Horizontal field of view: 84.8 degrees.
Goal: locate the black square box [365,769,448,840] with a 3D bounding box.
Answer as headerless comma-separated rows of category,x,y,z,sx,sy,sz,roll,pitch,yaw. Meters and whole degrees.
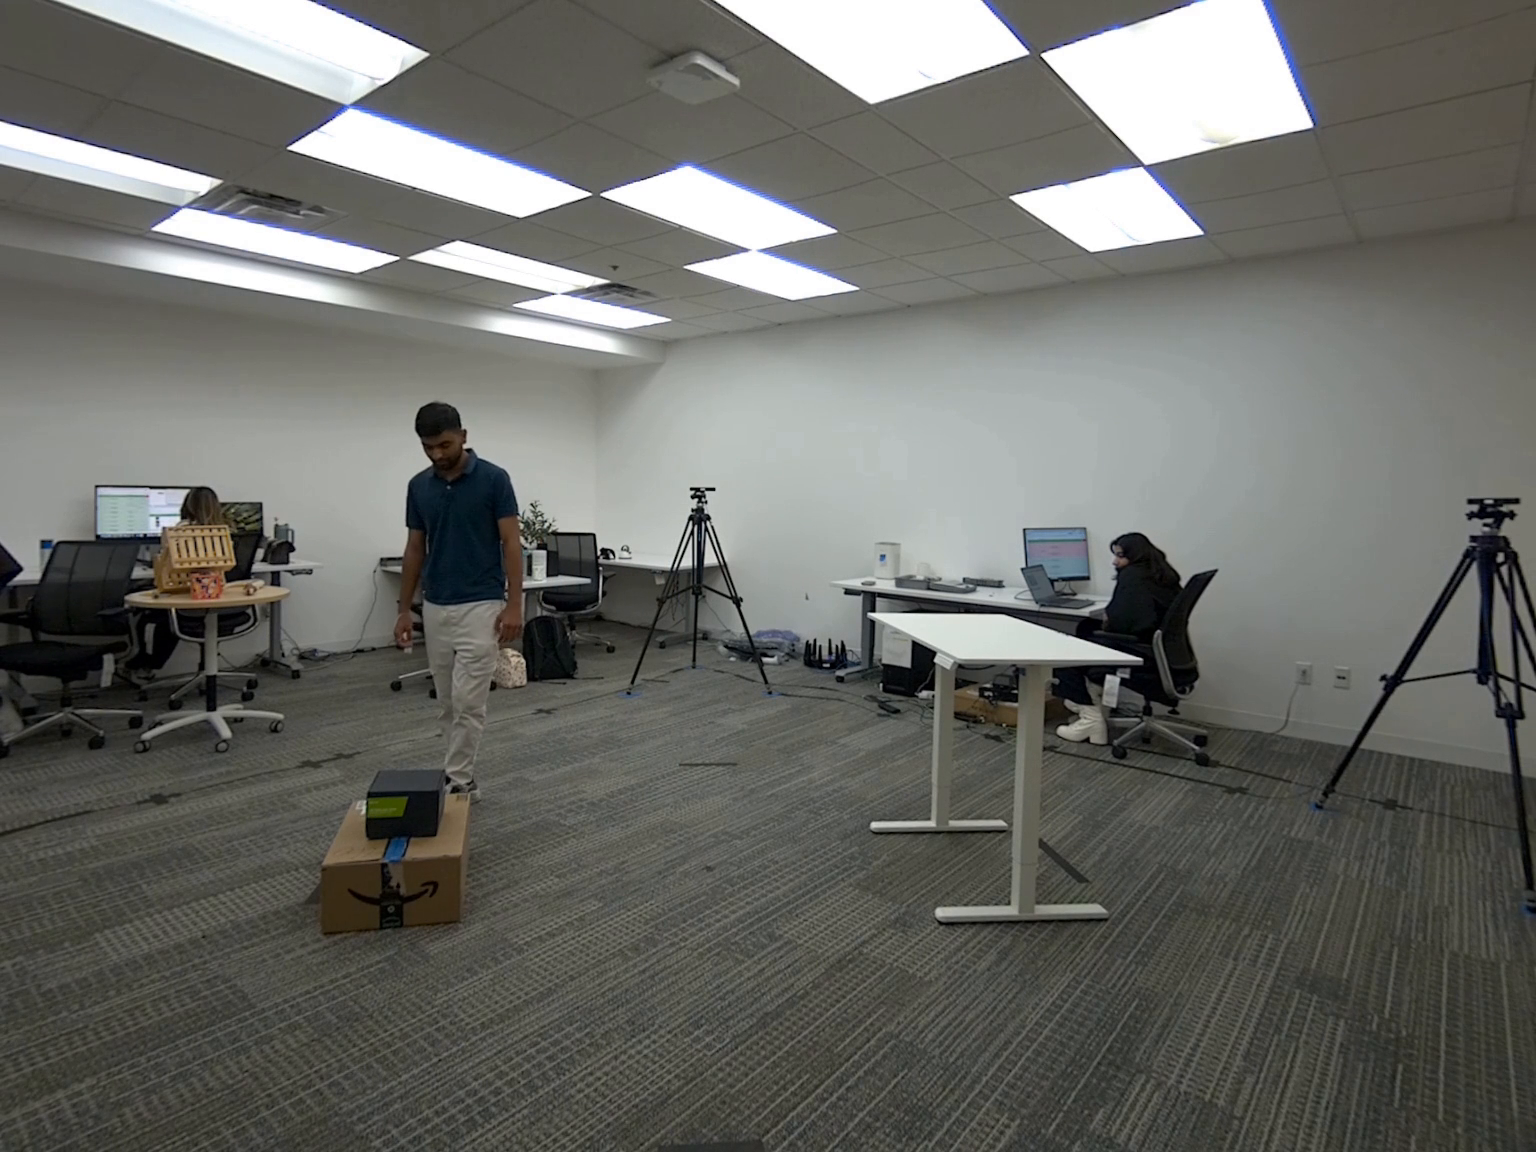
black square box,-1.245,0.768,2.917,0.225,0.155,0.221,1,6,-14
